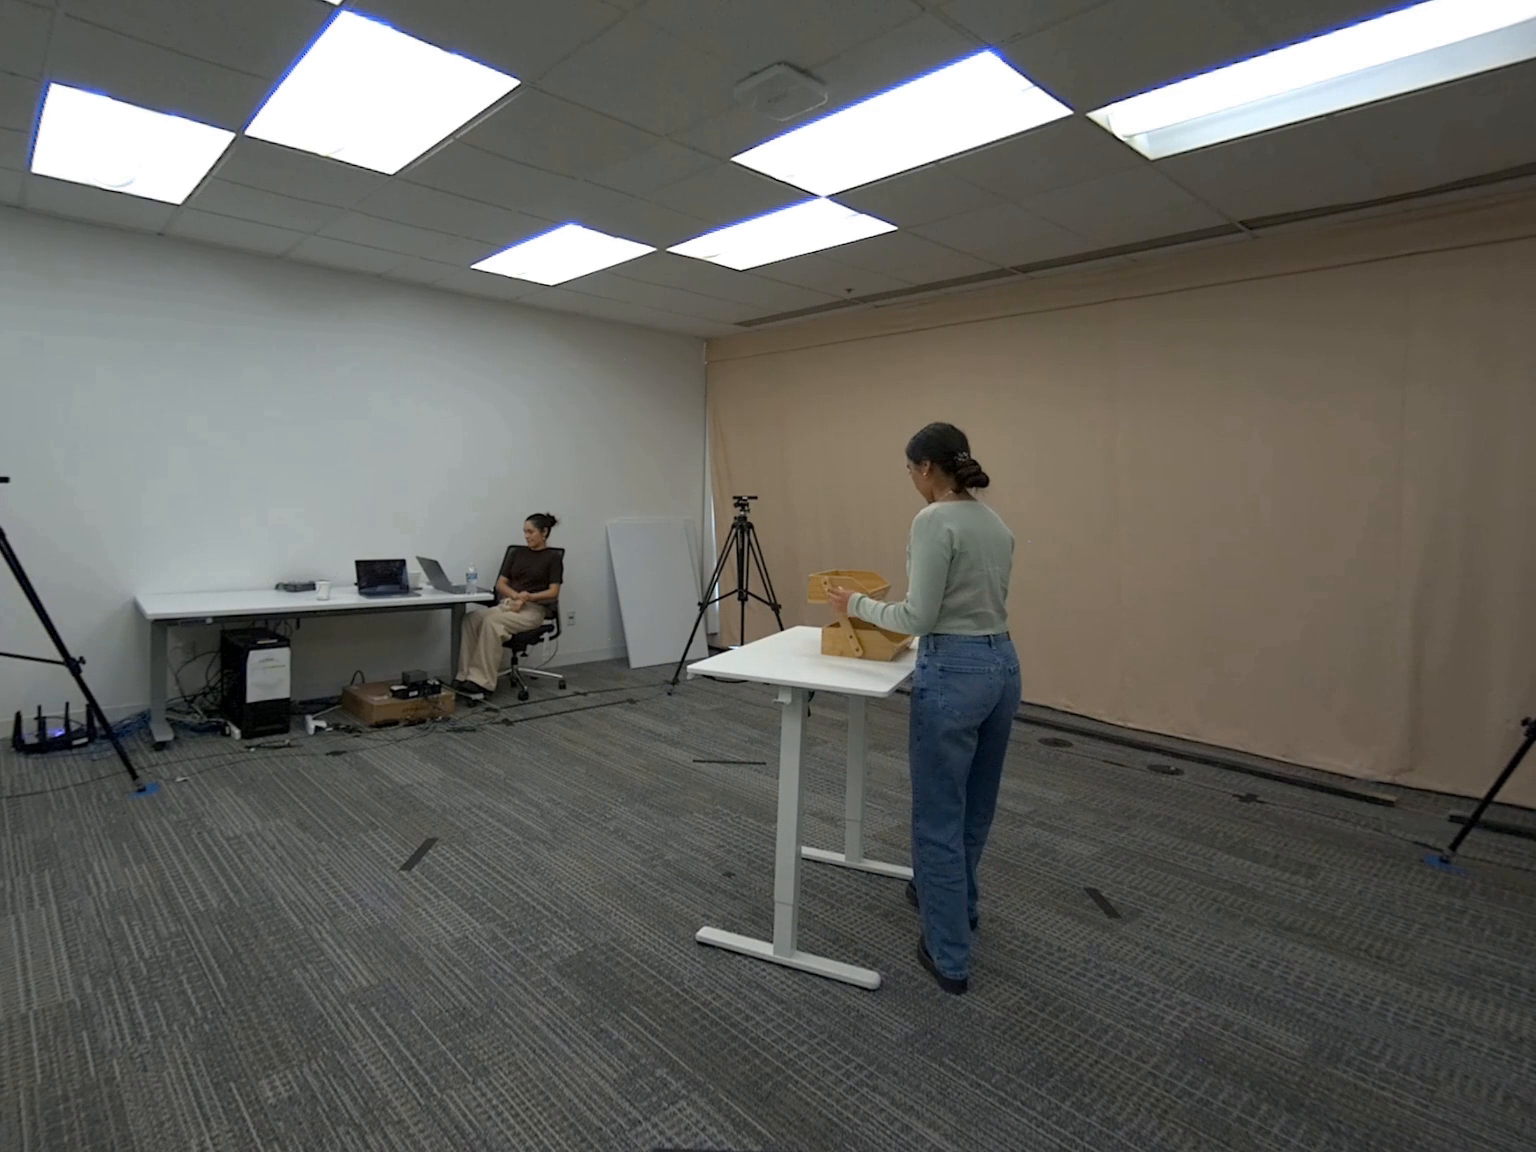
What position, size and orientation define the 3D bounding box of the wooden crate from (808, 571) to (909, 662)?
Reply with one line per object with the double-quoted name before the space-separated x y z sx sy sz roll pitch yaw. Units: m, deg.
"wooden crate" 0.322 0.123 2.858 0.307 0.272 0.320 3 4 21
